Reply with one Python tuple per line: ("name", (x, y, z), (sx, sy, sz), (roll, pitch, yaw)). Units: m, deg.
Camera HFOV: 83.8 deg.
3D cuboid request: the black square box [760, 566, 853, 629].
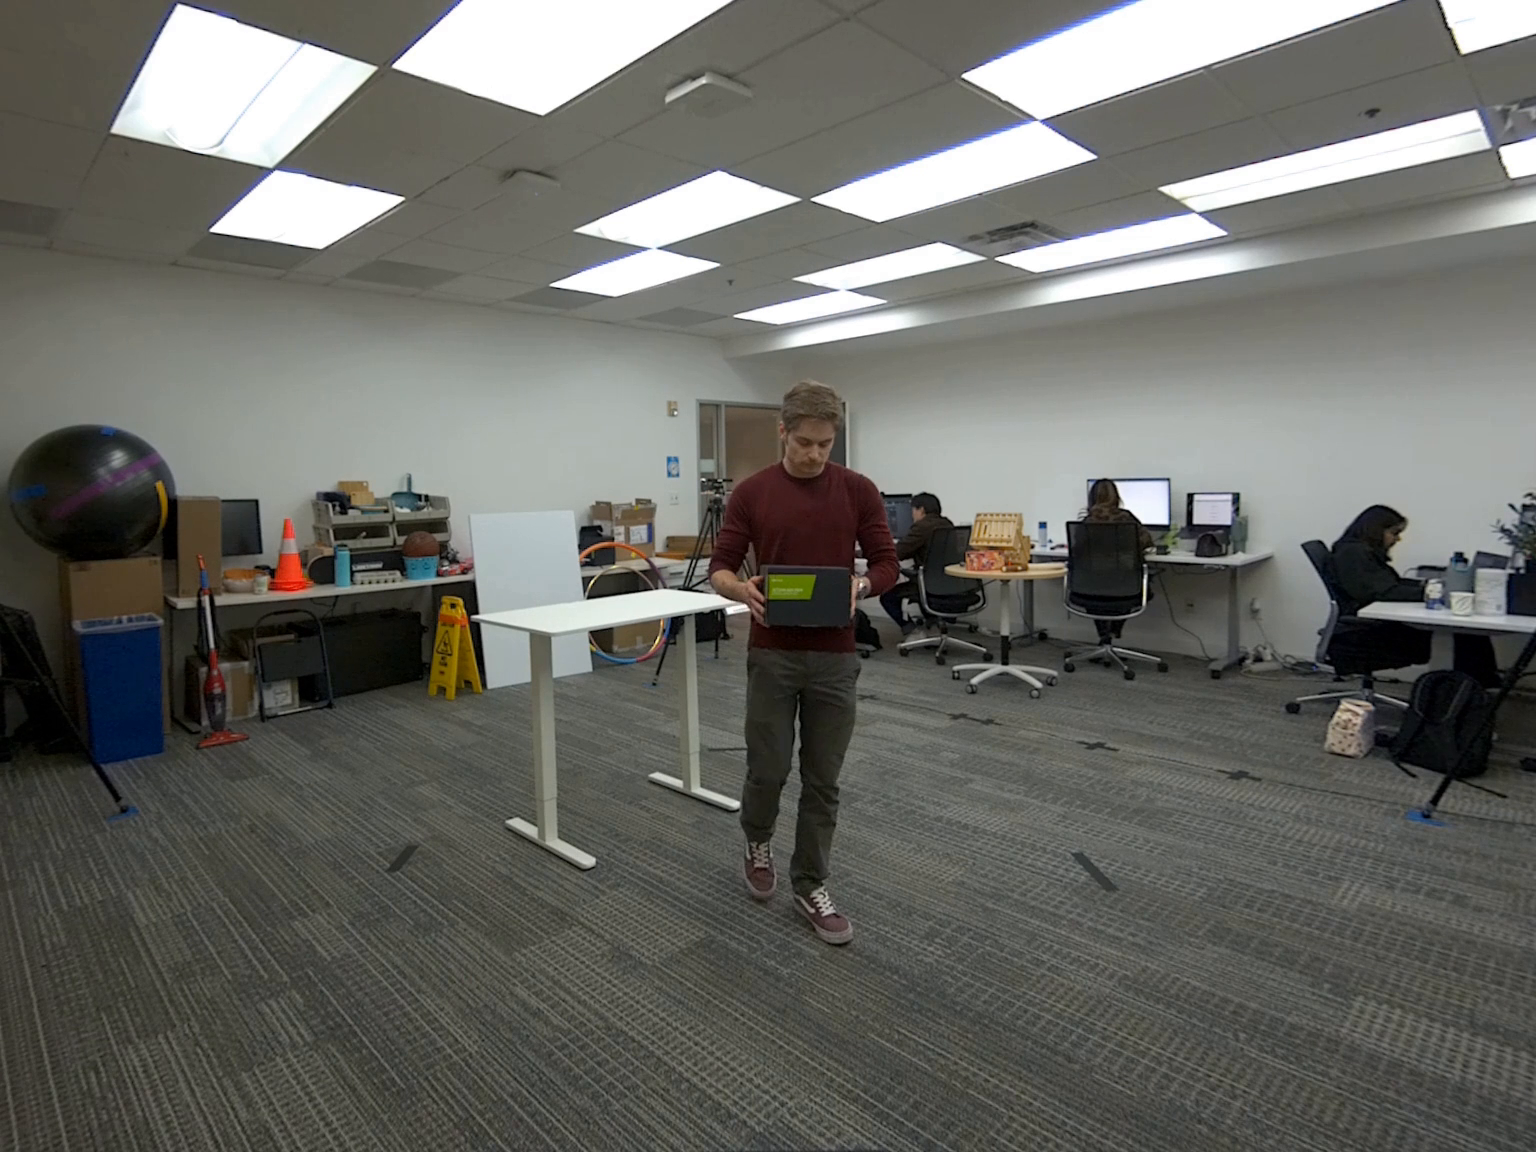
("black square box", (0.100, 0.053, 2.386), (0.227, 0.156, 0.218), (2, 2, -5))
